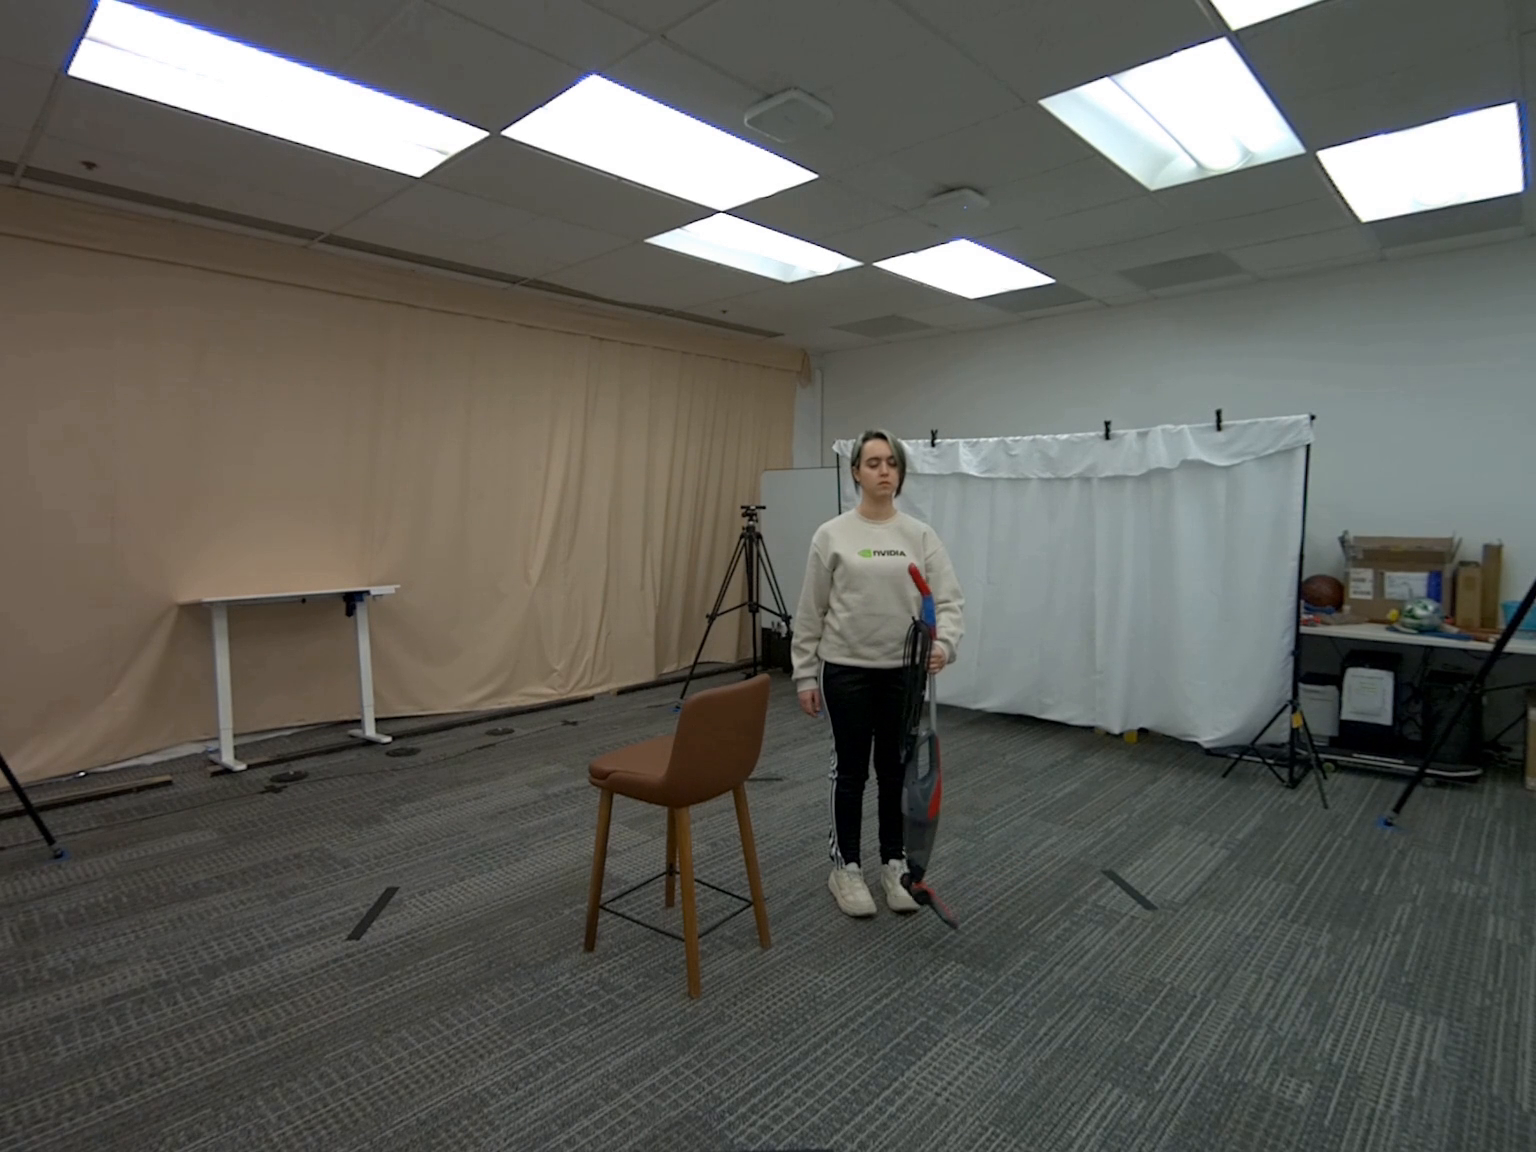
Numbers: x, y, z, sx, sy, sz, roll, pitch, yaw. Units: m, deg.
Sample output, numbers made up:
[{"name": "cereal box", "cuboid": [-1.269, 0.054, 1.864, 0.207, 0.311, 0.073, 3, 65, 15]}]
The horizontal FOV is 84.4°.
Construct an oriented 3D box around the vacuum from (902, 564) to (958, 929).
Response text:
[{"name": "vacuum", "cuboid": [0.479, 0.495, 2.638, 0.141, 1.047, 0.258, -4, 3, -23]}]
